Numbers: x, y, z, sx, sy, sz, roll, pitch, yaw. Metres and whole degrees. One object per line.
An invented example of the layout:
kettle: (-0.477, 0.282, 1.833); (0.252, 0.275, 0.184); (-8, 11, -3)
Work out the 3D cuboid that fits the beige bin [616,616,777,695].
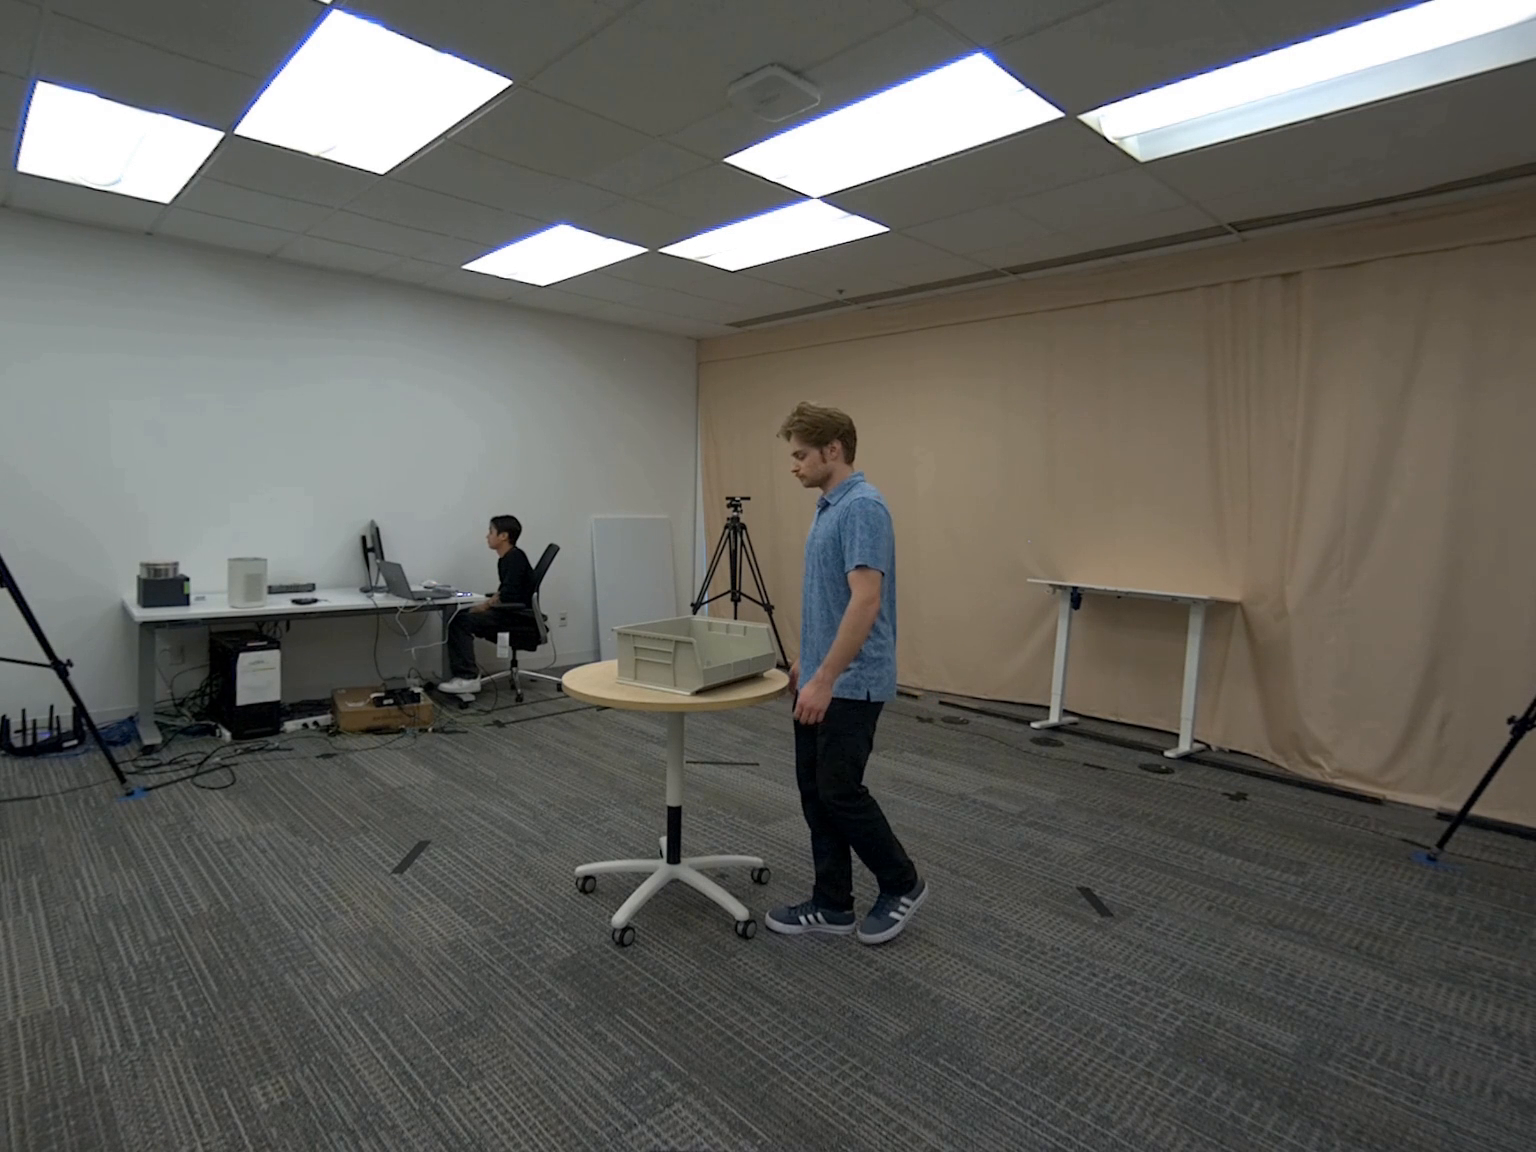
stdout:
beige bin: (-0.238, 0.261, 2.803); (0.386, 0.188, 0.413); (2, 4, 34)
